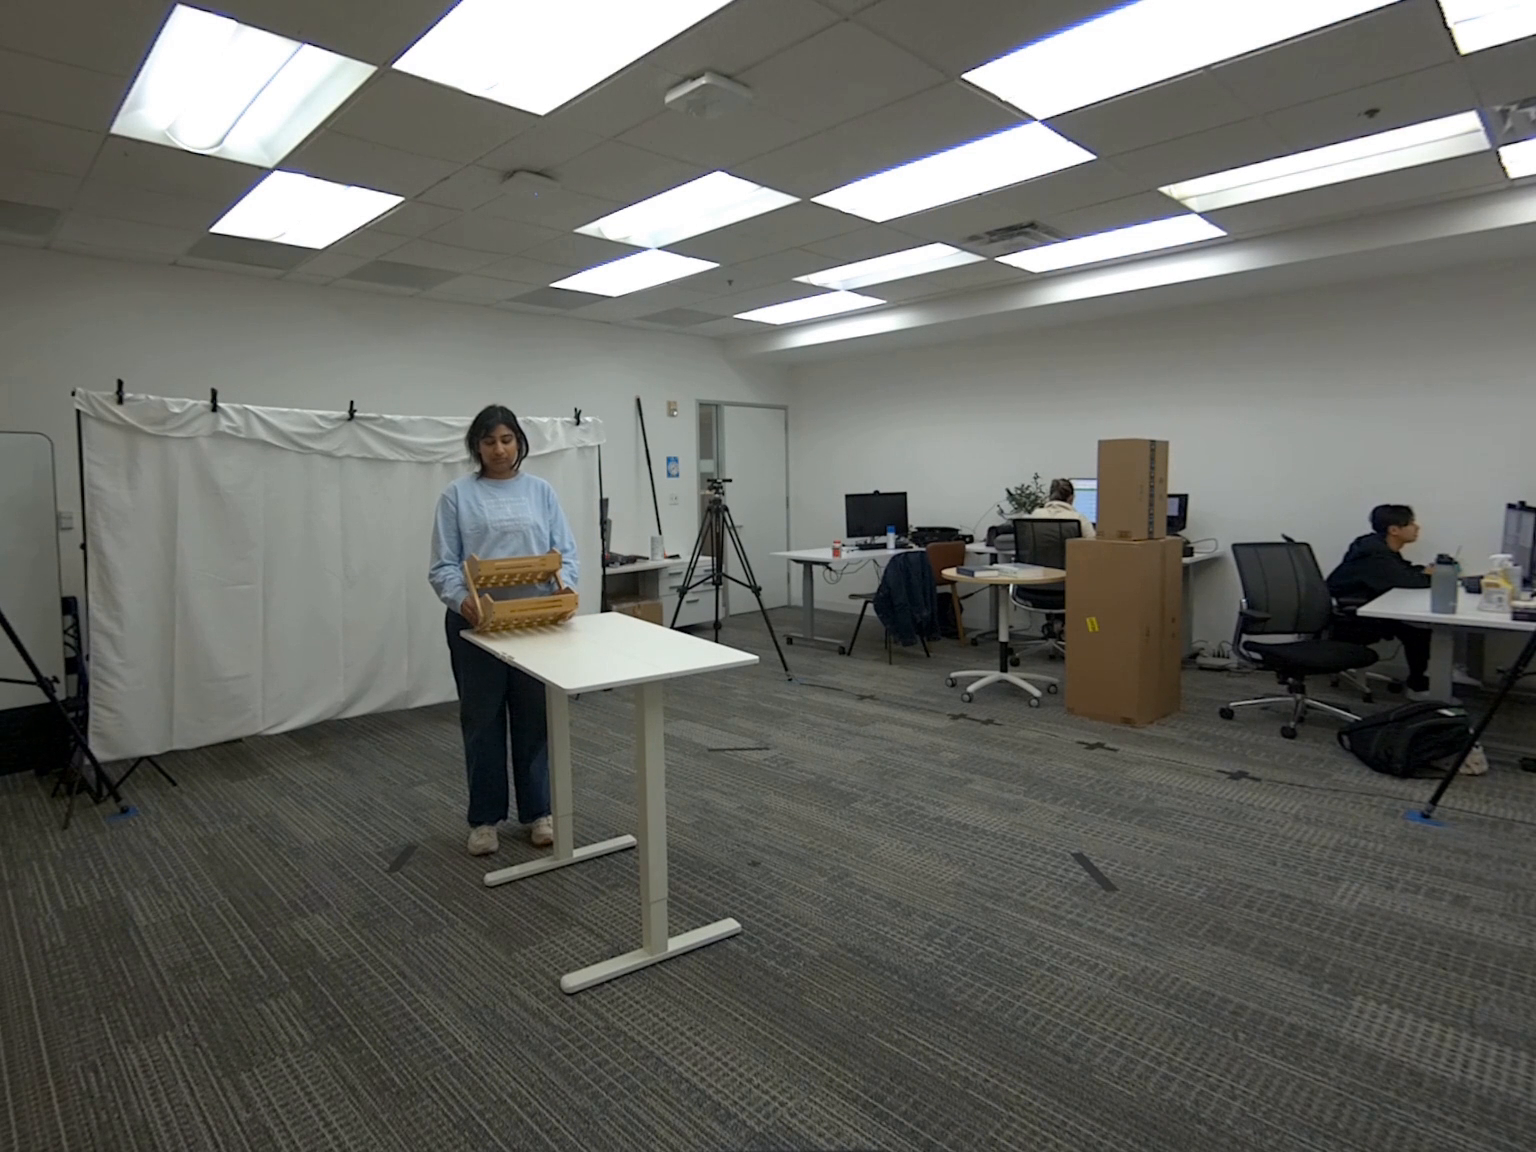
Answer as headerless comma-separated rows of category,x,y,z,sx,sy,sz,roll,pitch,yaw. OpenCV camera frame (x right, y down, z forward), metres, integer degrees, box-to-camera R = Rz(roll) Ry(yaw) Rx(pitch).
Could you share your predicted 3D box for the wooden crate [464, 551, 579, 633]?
wooden crate,-0.885,0.032,3.005,0.317,0.277,0.305,-5,-14,-31
